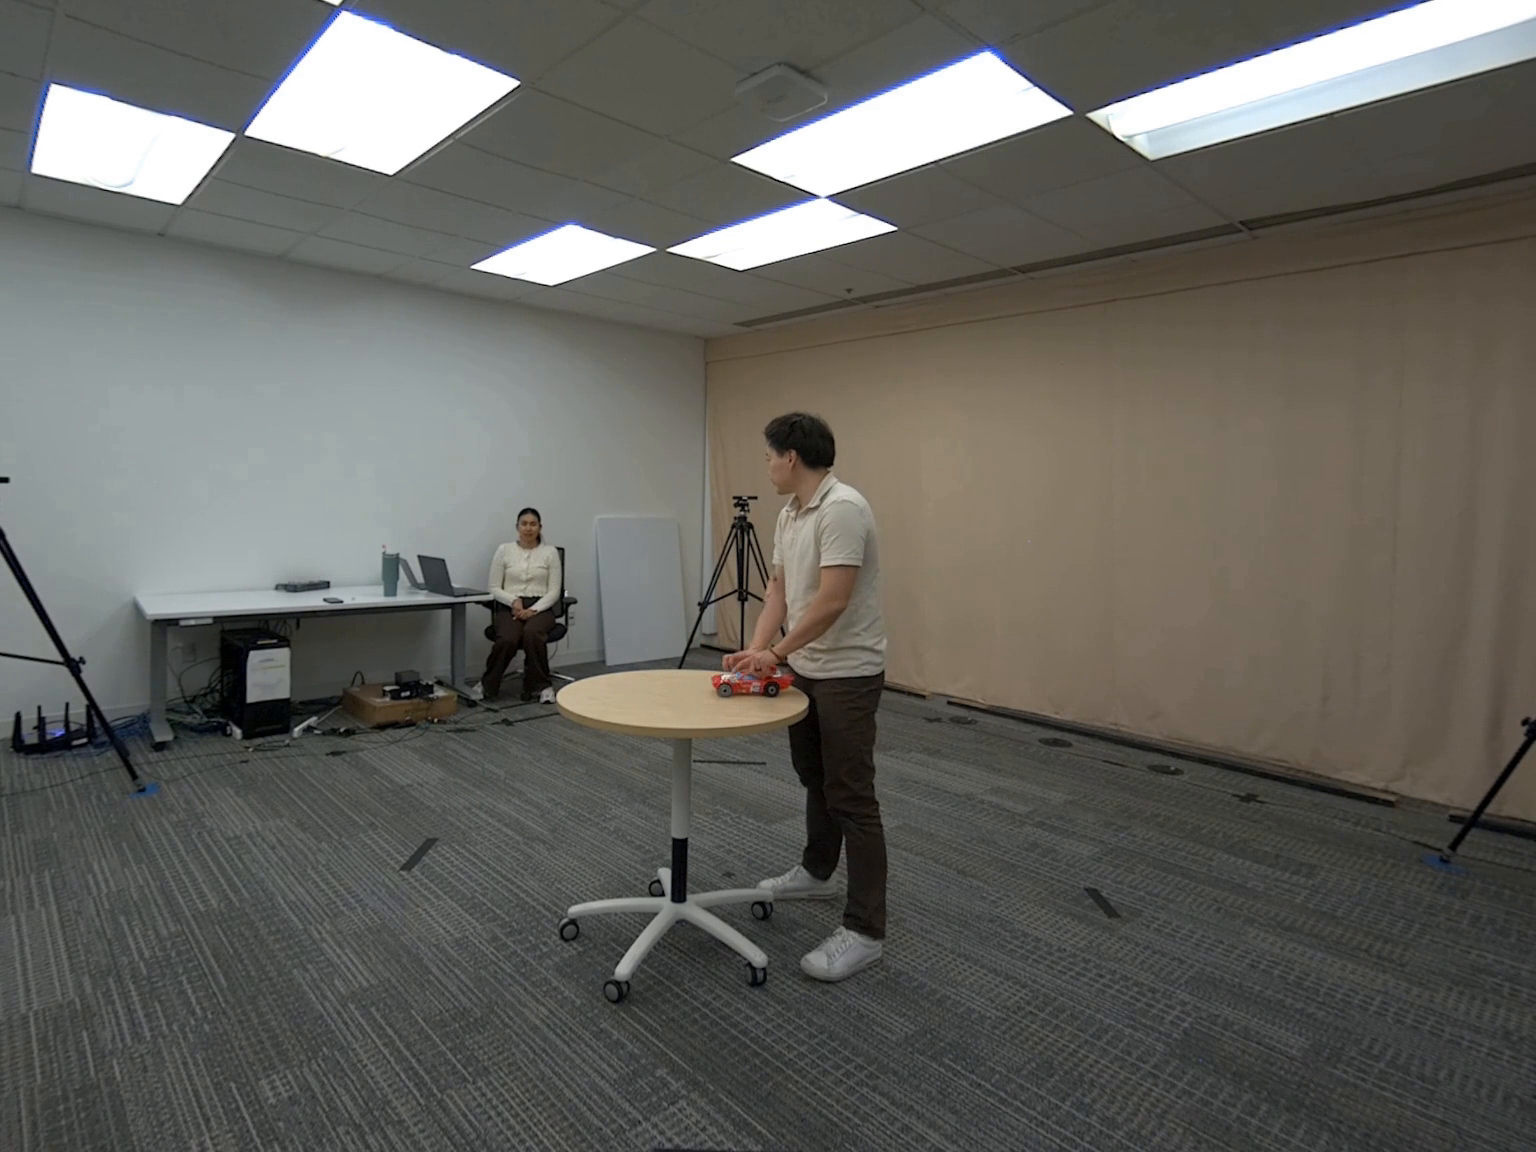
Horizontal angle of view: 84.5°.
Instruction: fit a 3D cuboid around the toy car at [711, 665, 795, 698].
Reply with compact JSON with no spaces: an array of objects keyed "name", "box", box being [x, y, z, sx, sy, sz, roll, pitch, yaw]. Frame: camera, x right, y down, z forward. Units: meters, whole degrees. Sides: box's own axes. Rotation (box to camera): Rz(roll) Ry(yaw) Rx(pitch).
[{"name":"toy car","box":[-0.051,0.334,2.622,0.254,0.083,0.131,-10,5,-3]}]
